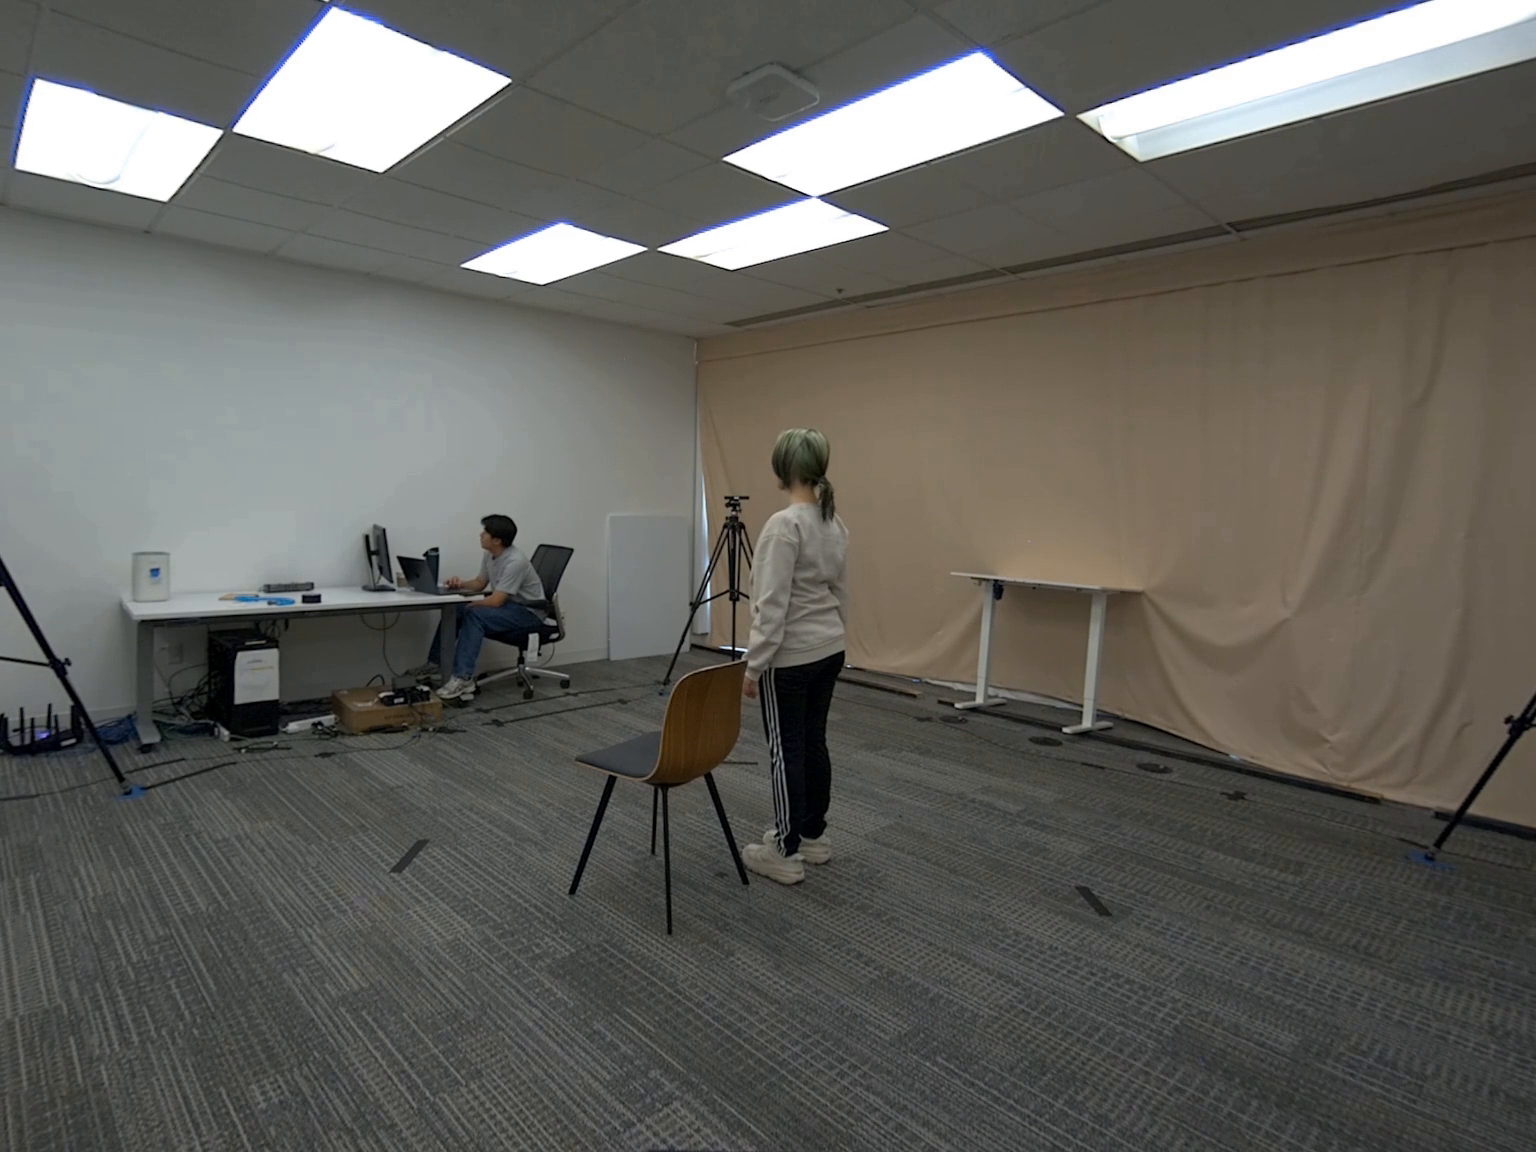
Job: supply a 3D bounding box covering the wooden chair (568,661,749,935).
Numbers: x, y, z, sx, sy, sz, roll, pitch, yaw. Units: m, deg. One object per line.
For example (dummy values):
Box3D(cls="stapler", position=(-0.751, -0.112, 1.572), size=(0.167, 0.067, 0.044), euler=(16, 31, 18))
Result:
Box3D(cls="wooden chair", position=(-0.383, 0.685, 2.948), size=(0.536, 0.874, 0.468), euler=(8, 7, 34))
